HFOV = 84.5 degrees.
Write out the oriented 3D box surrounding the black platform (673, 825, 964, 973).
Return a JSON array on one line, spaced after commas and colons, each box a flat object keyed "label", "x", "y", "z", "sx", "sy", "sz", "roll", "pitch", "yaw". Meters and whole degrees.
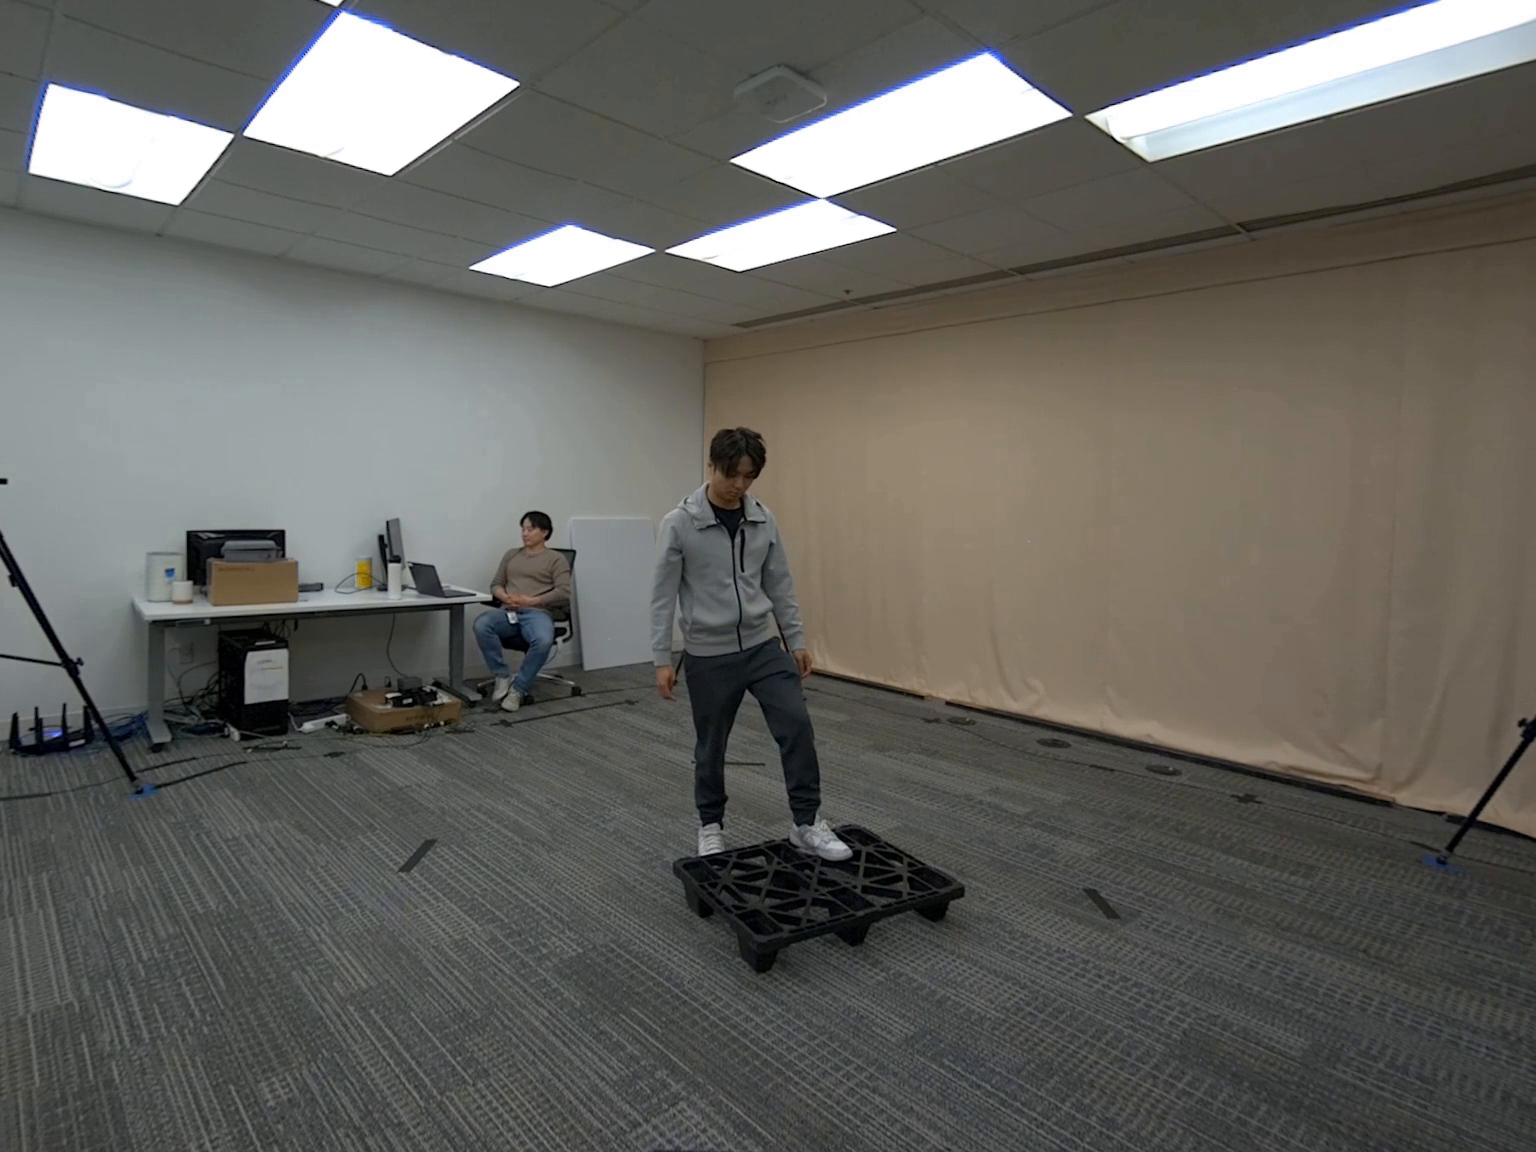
[{"label": "black platform", "x": 0.148, "y": 1.070, "z": 2.843, "sx": 0.789, "sy": 0.143, "sz": 0.619, "roll": -1, "pitch": 5, "yaw": -30}]
